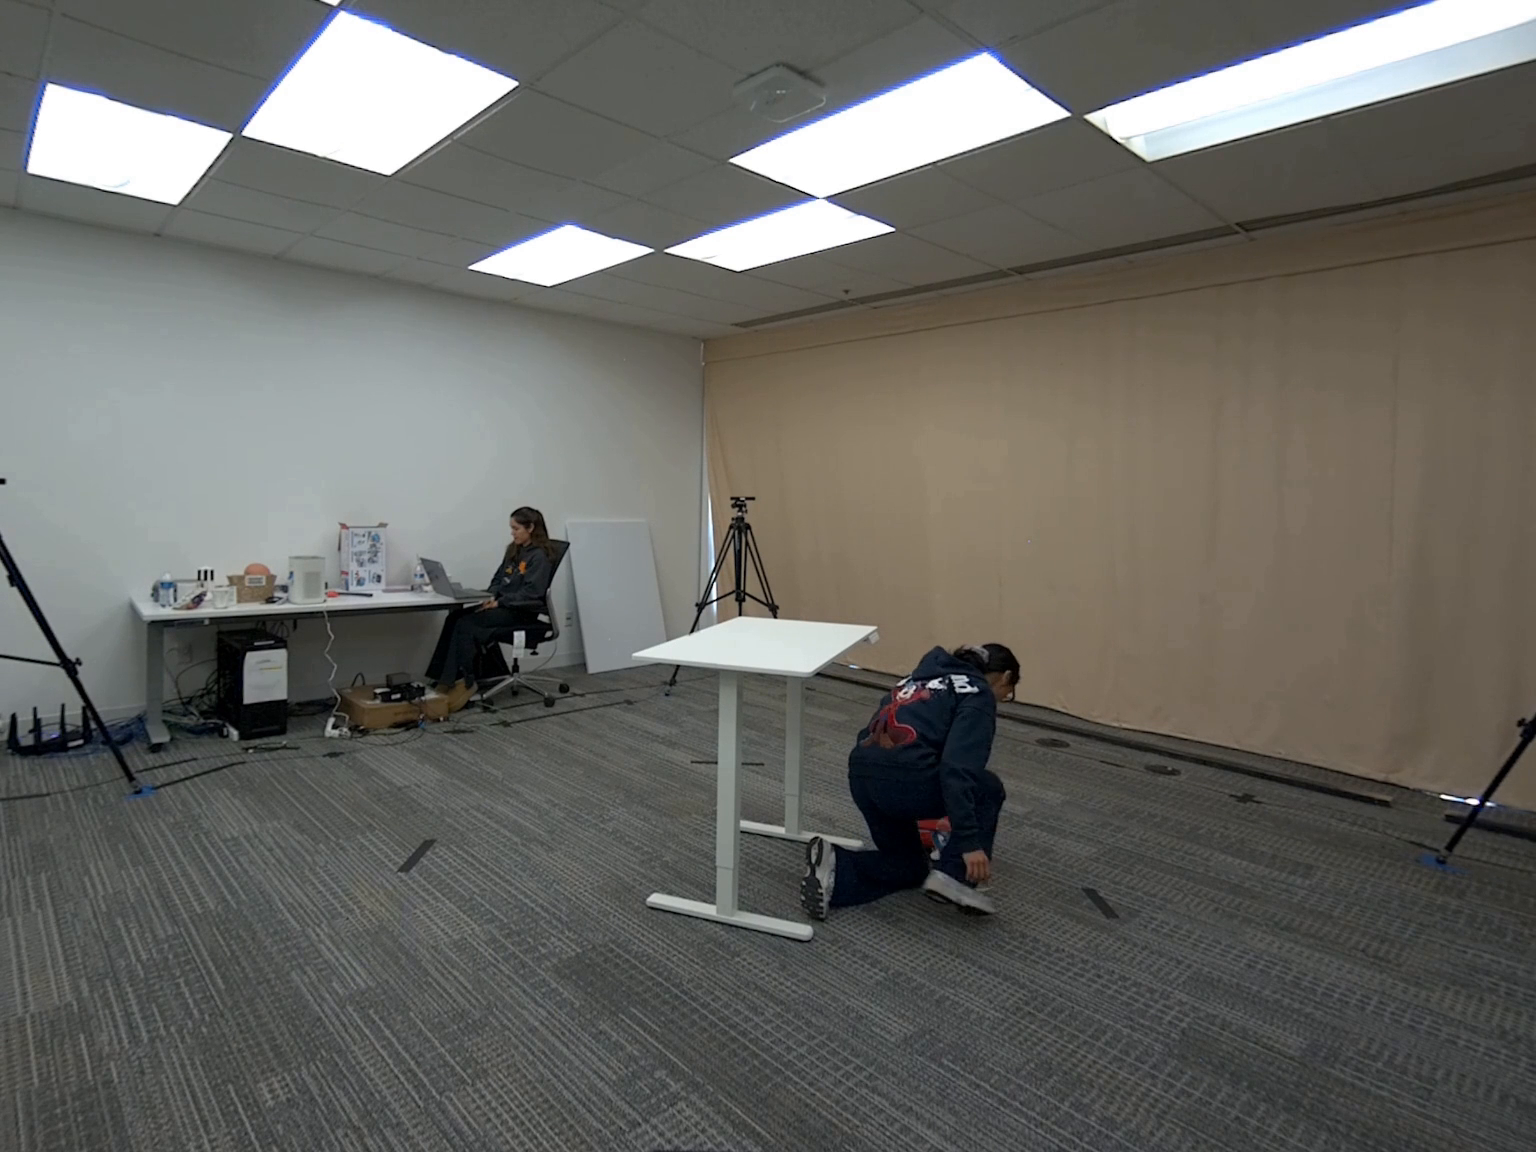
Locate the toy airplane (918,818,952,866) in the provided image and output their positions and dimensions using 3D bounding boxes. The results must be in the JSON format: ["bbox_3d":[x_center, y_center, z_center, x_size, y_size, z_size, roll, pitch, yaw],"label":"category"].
[{"bbox_3d":[0.705,1.045,3.286,0.246,0.156,0.265,-3,7,-27],"label":"toy airplane"}]
